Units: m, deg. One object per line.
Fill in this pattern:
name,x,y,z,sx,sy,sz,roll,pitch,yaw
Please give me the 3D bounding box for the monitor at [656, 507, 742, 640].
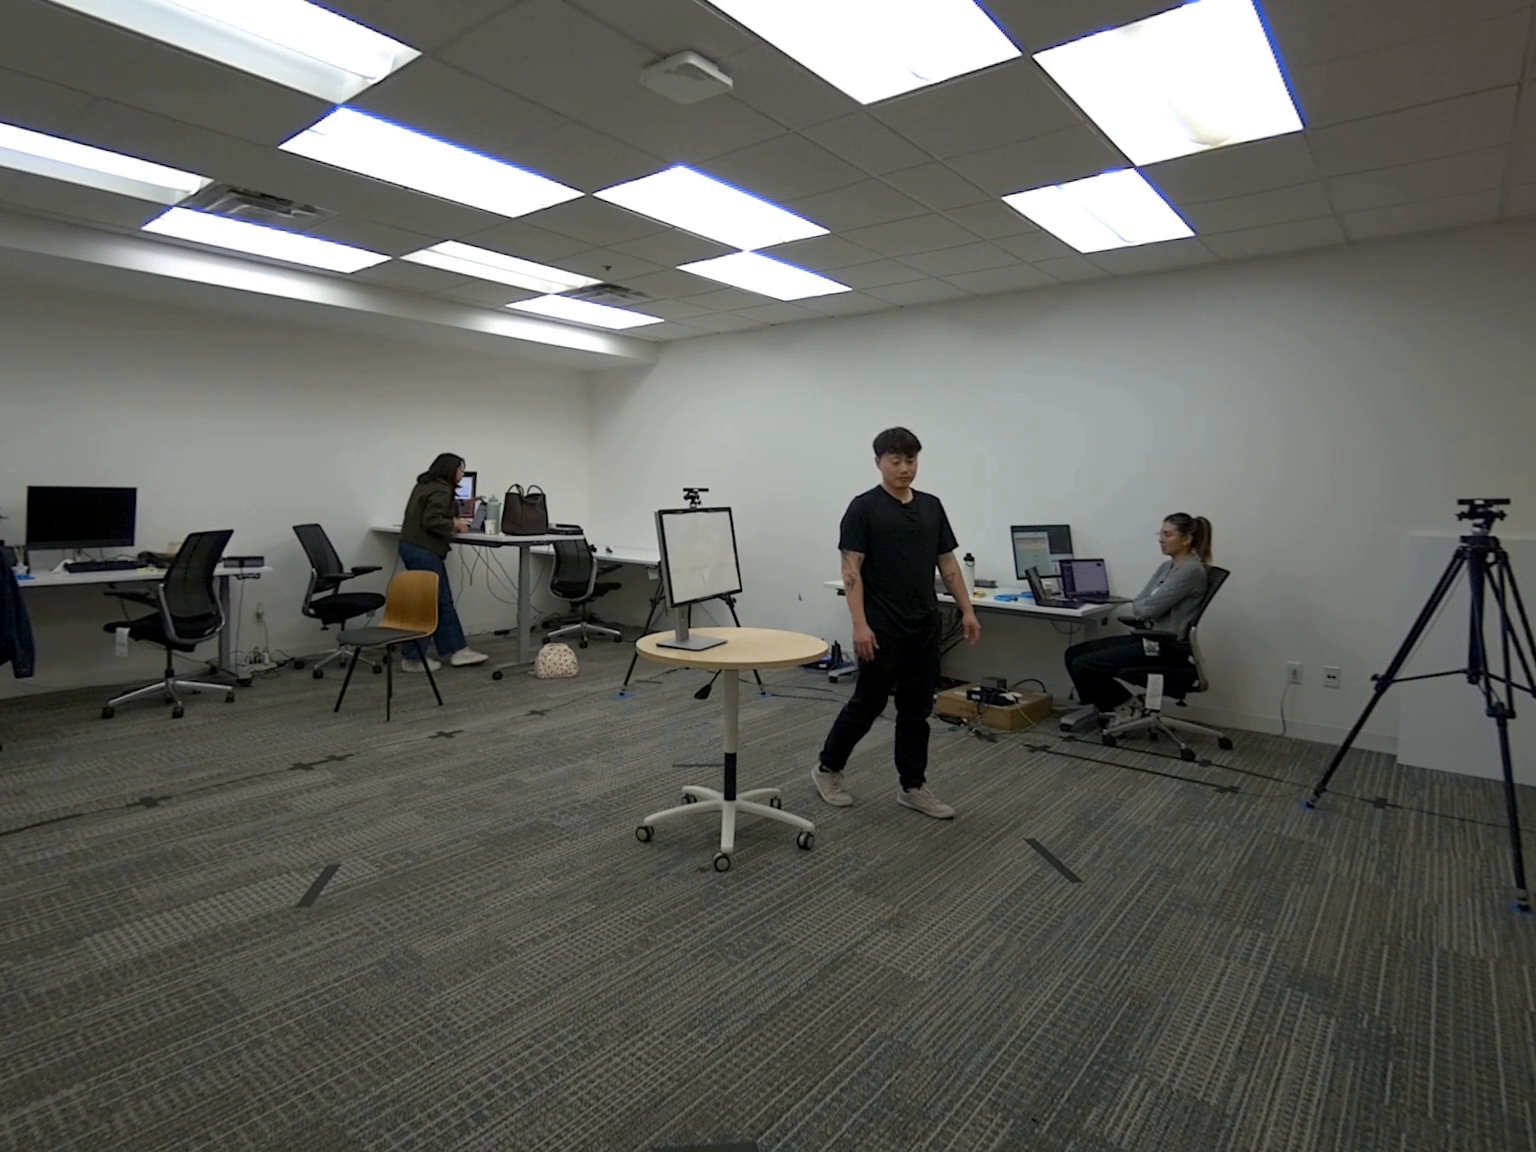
monitor,-0.308,0.006,3.363,0.192,0.520,0.527,4,5,24
